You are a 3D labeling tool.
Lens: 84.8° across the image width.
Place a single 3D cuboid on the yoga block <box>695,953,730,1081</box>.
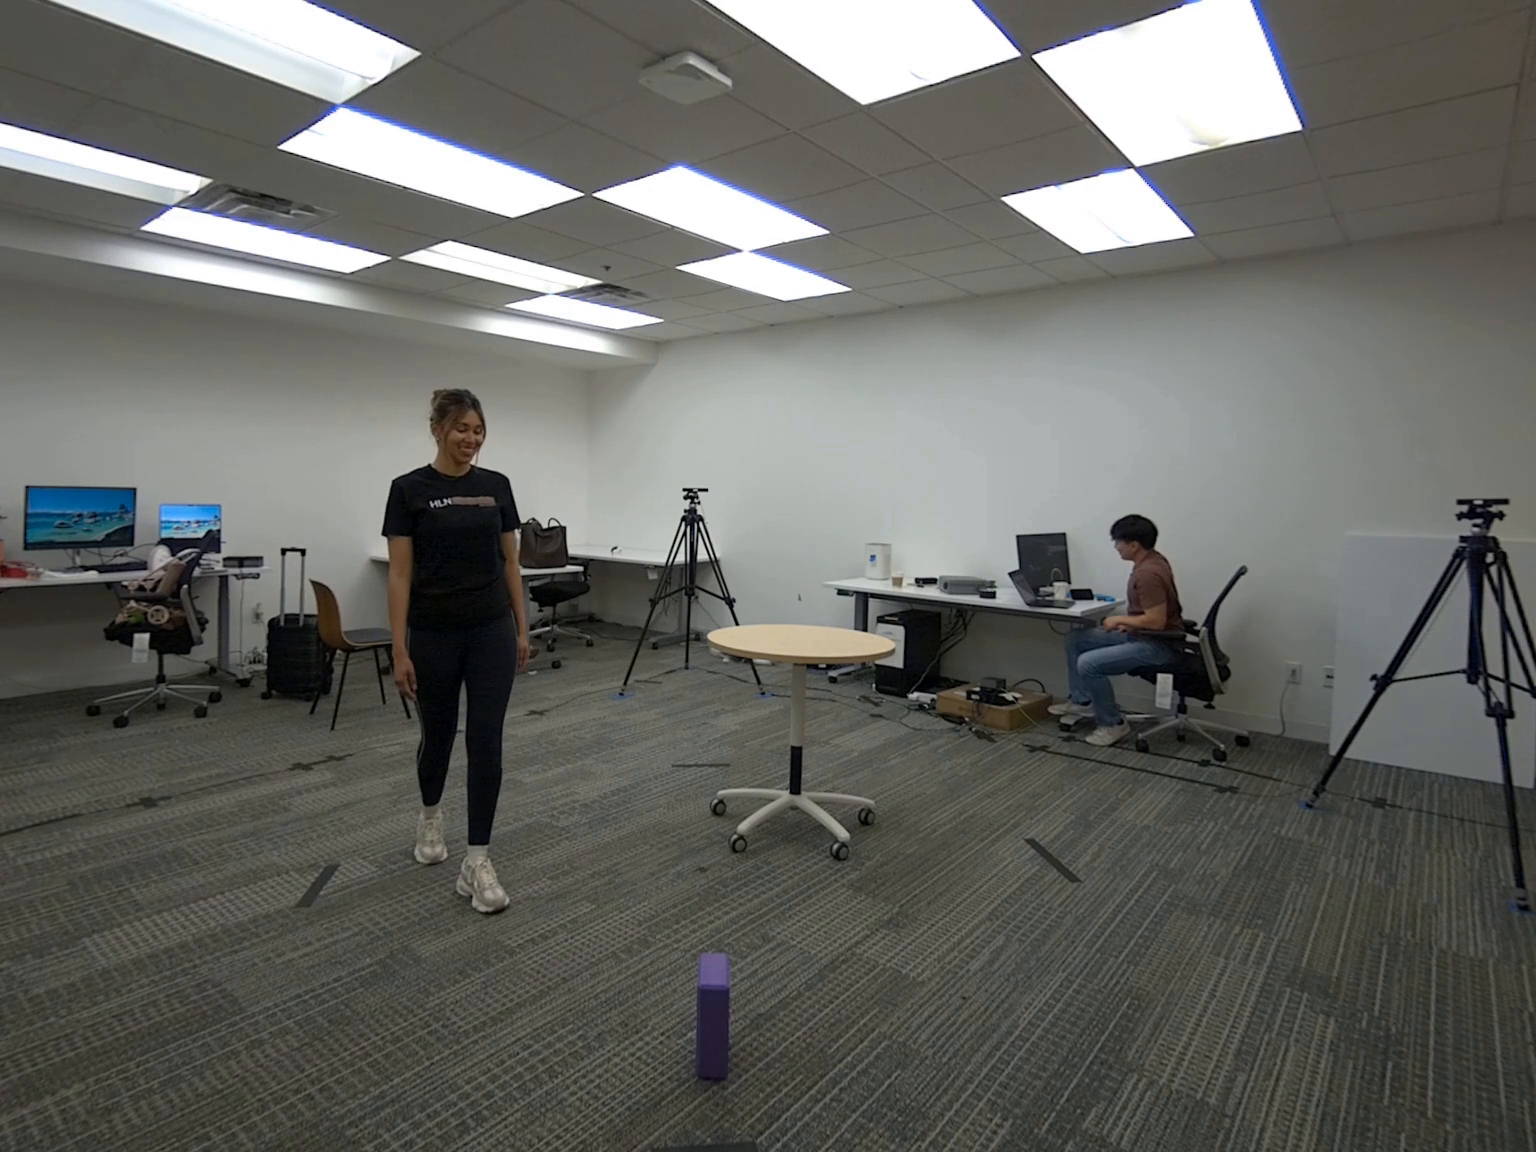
[{"bbox_3d":[-0.135,1.066,2.057,0.076,0.228,0.150,2,7,-2],"label":"yoga block"}]
